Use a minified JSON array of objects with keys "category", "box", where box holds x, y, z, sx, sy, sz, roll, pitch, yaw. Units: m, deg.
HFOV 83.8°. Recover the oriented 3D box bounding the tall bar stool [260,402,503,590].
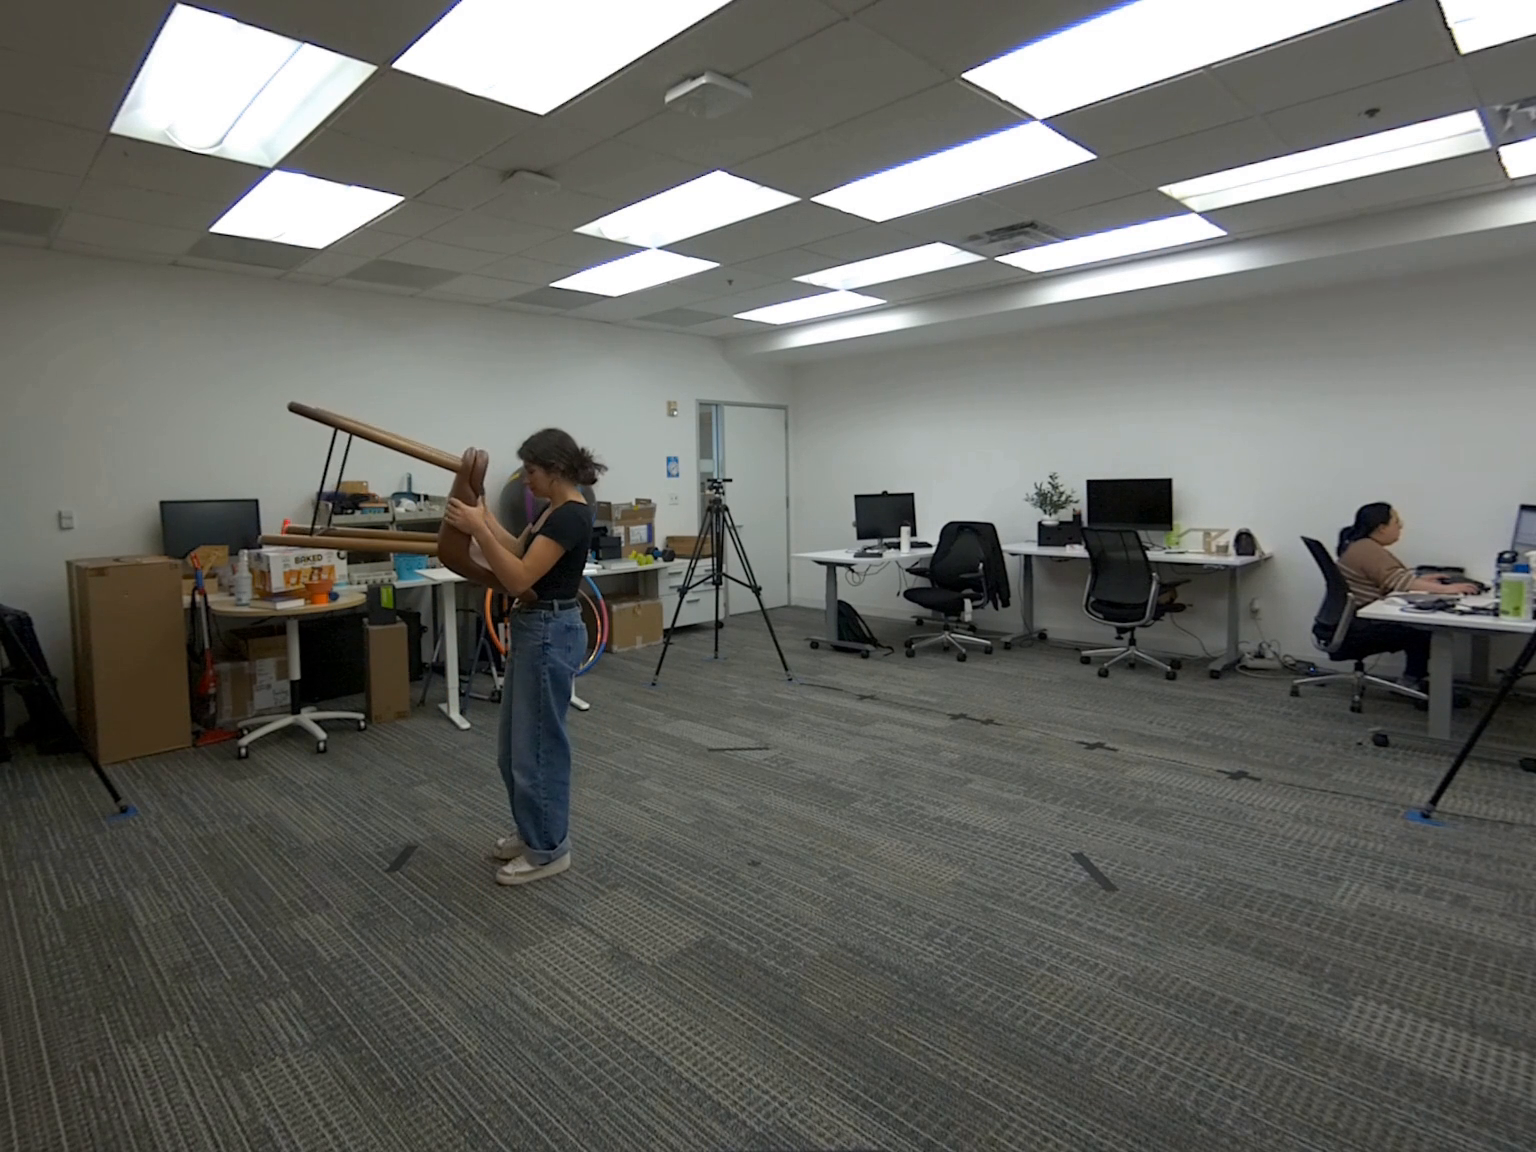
[{"category":"tall bar stool","box":[-1.181,-0.246,2.921,0.872,0.467,0.466,15,2,-18]}]
